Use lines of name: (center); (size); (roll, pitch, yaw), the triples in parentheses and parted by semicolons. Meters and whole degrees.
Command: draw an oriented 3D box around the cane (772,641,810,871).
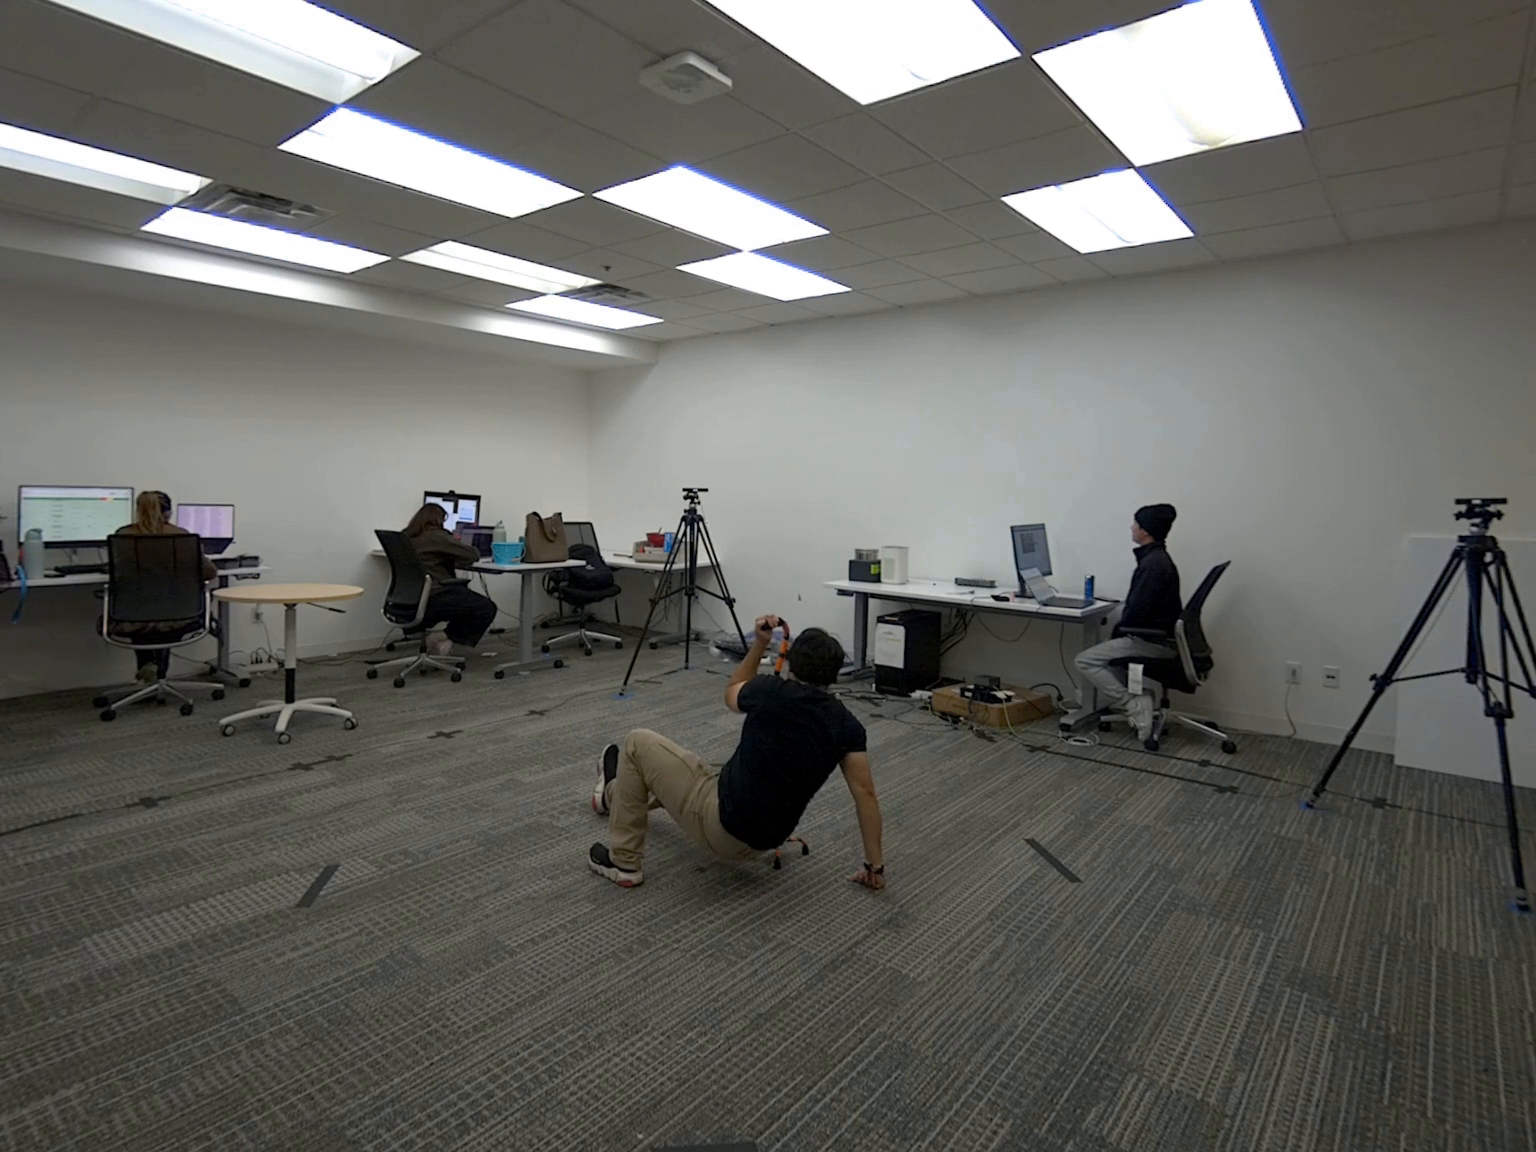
cane: (0.034, 0.605, 3.215); (0.157, 0.905, 0.200); (3, 4, 42)
